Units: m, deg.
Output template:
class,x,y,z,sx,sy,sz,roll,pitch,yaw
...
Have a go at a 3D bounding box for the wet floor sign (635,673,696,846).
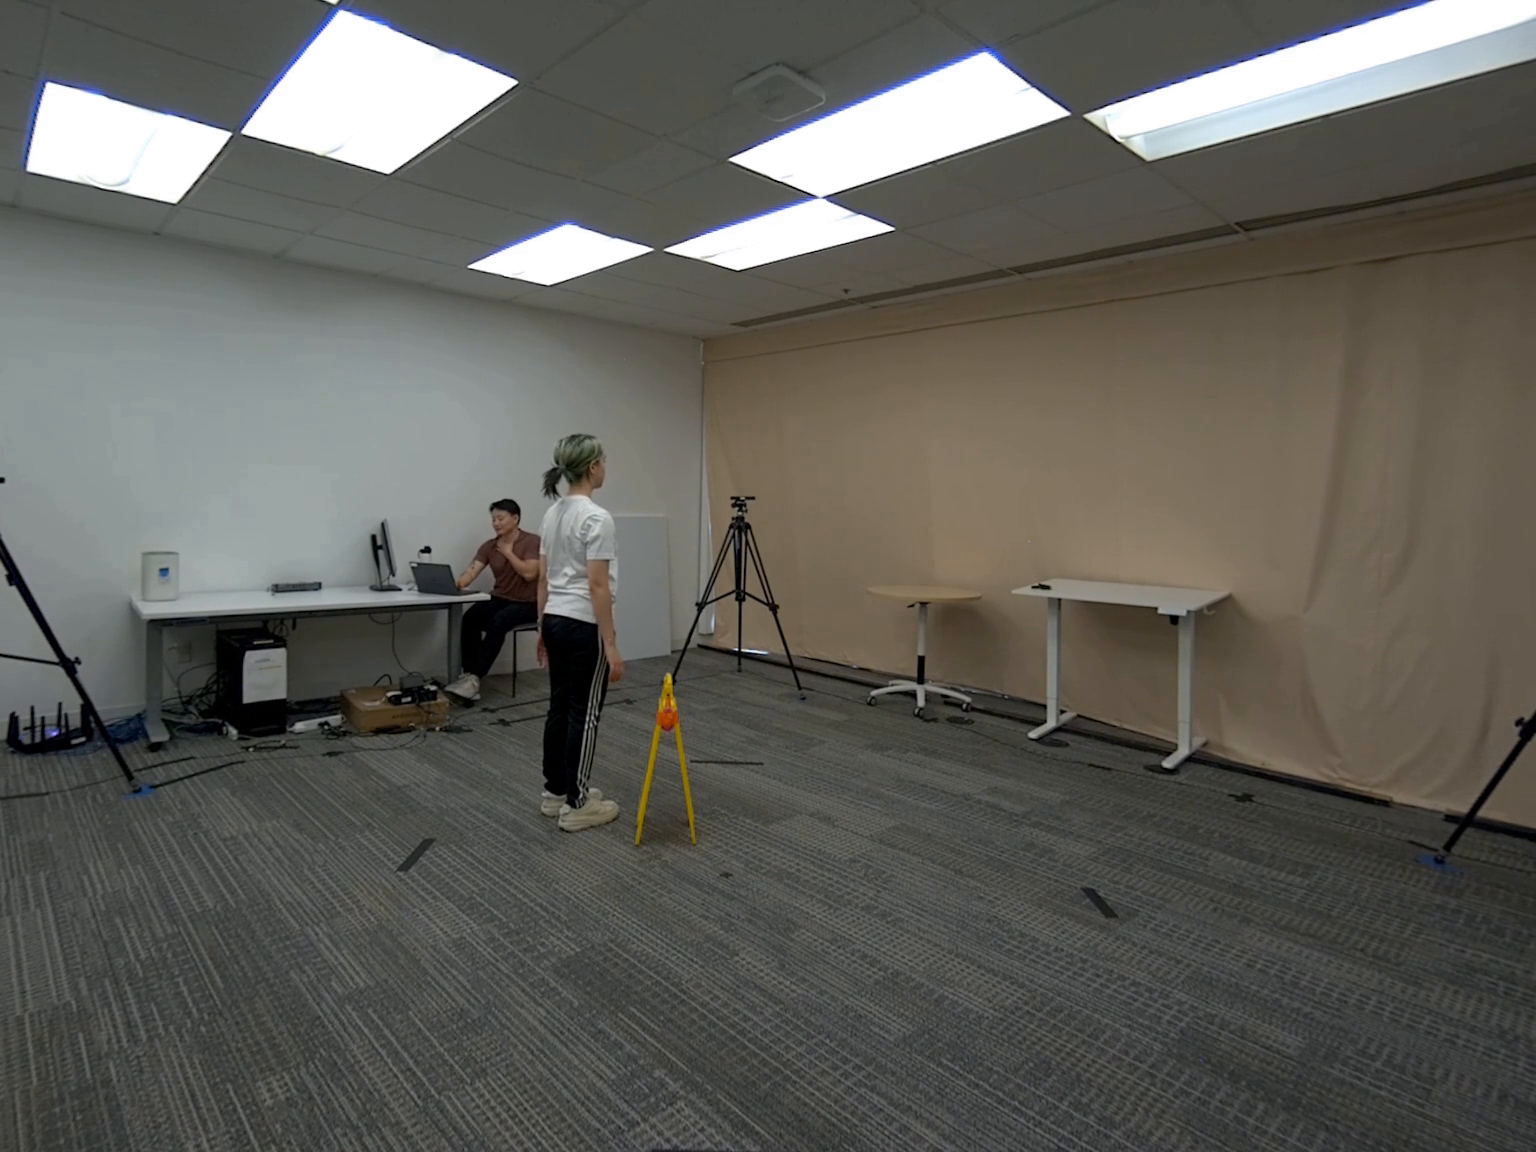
class,x,y,z,sx,sy,sz,roll,pitch,yaw
wet floor sign,-0.424,0.743,3.478,0.289,0.645,0.284,1,2,-5
